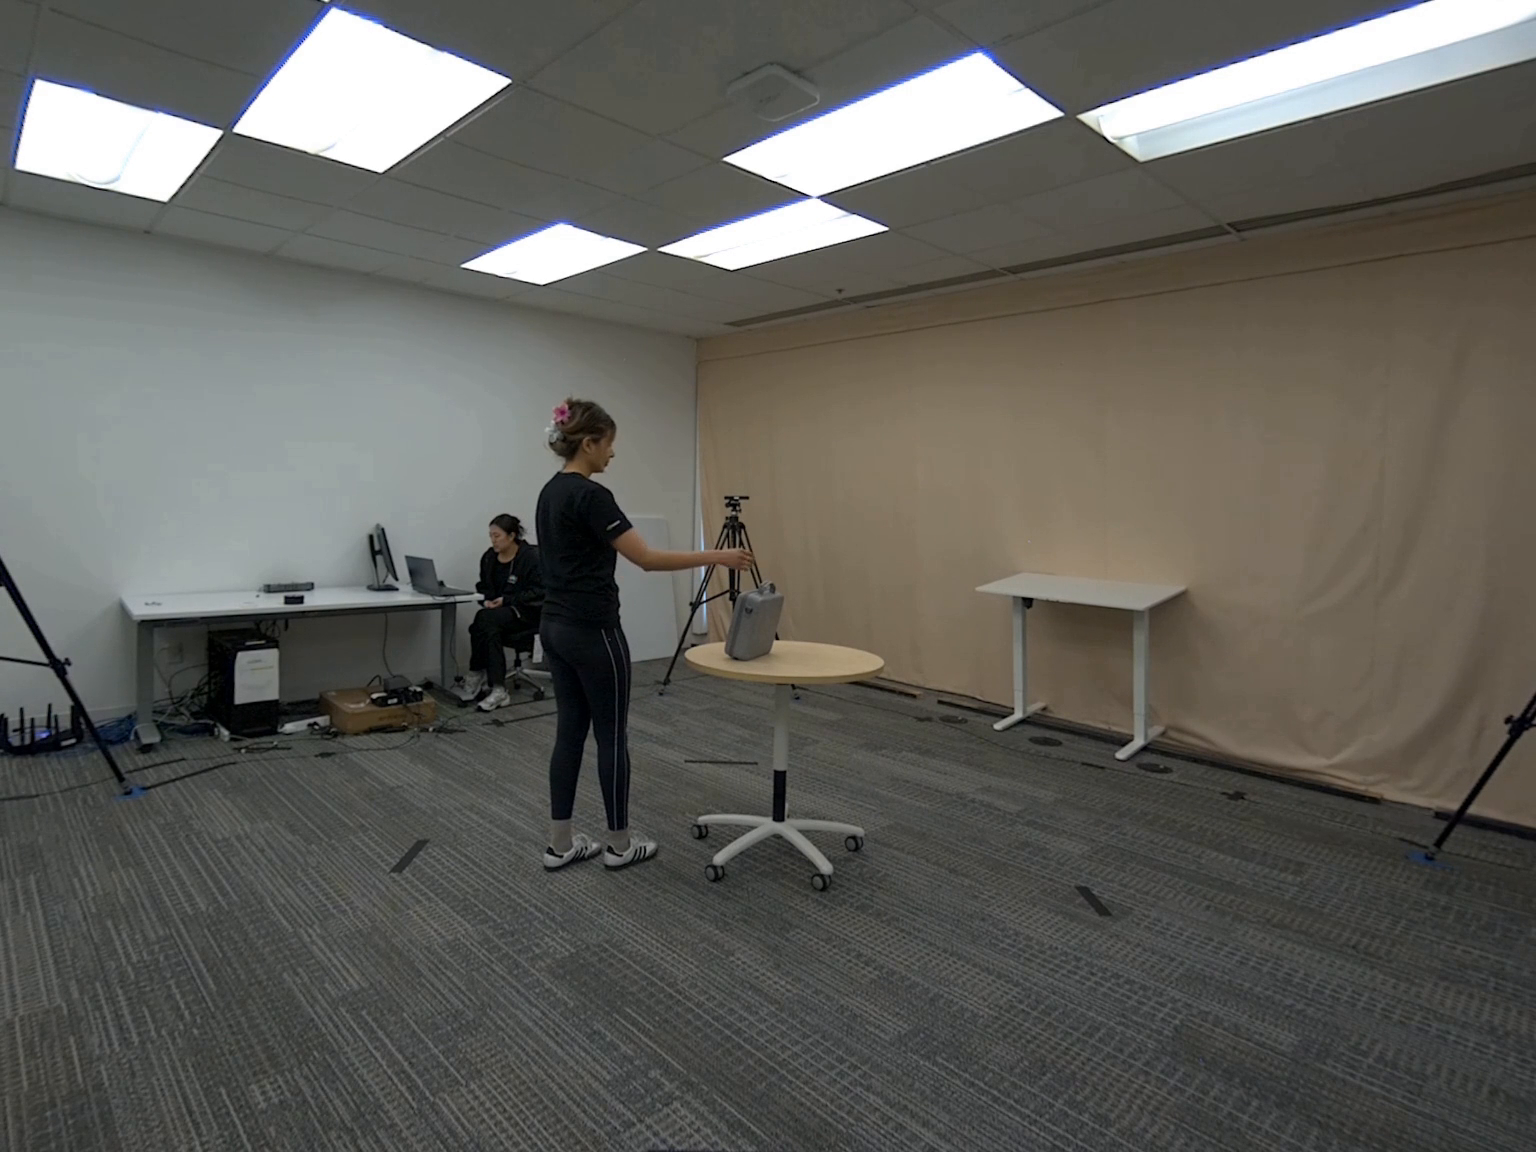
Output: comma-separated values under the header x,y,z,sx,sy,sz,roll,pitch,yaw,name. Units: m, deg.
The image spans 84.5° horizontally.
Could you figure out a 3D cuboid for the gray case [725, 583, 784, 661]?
x,y,z,sx,sy,sz,roll,pitch,yaw,name
-0.056,0.177,3.219,0.106,0.259,0.253,16,10,22,gray case
